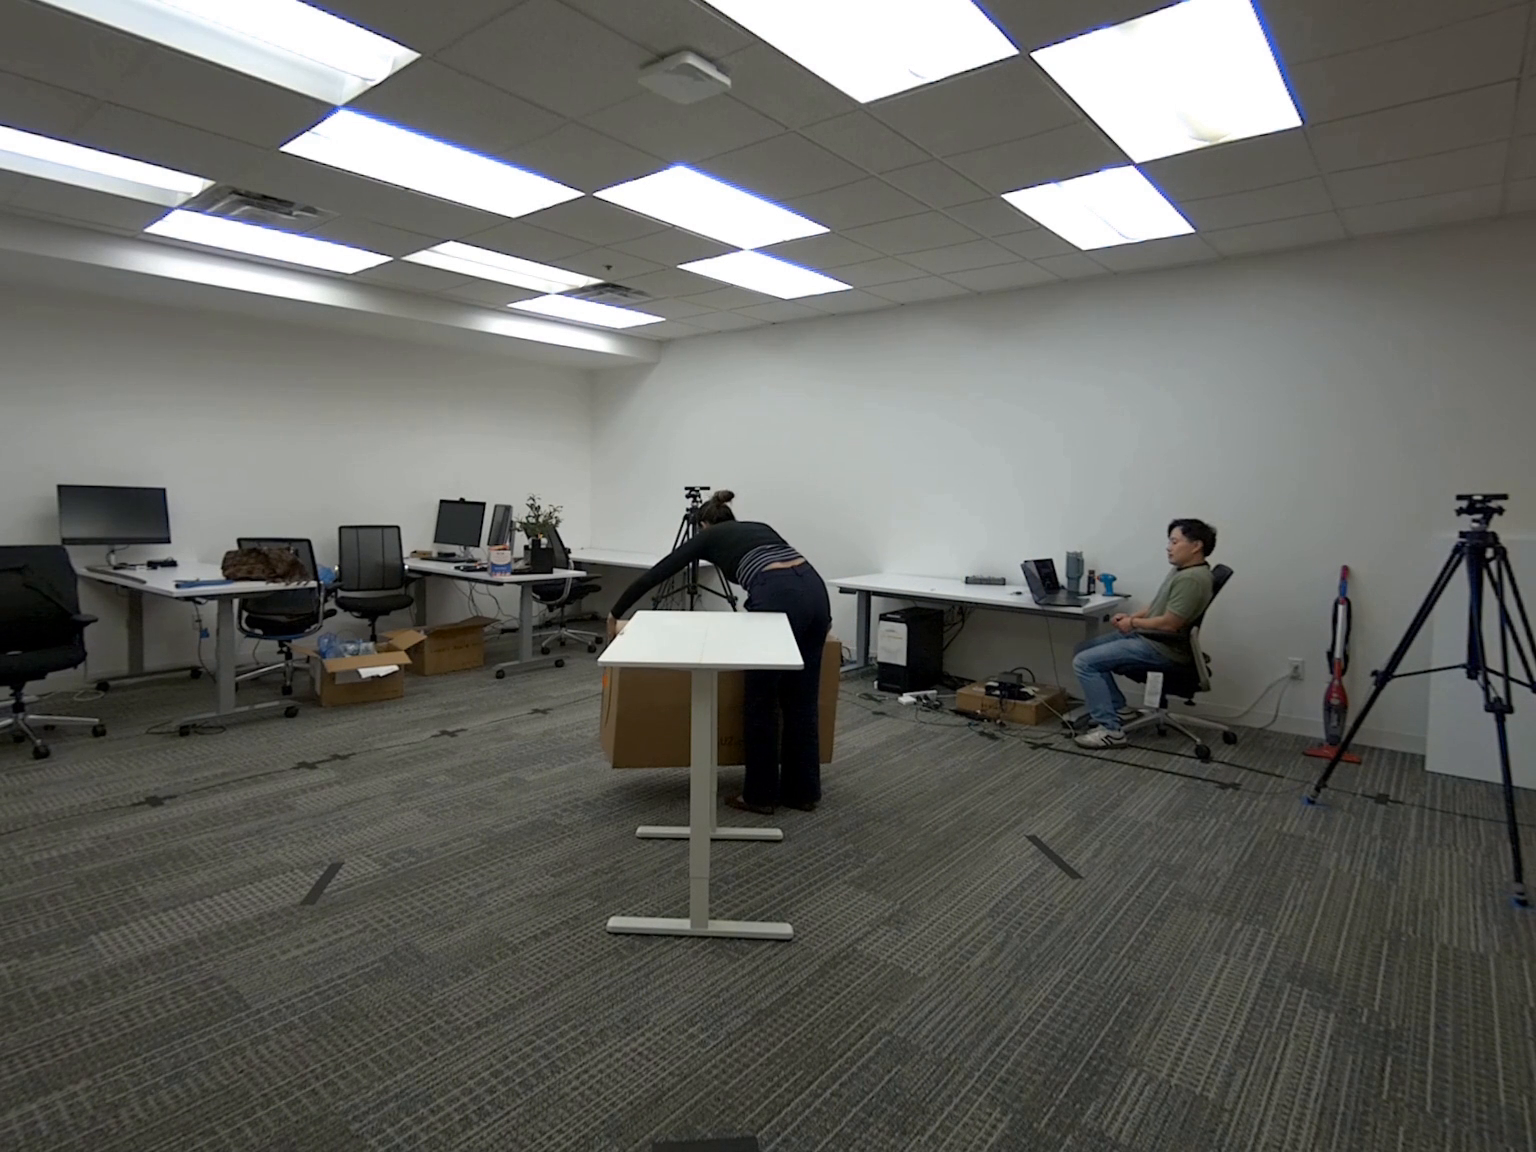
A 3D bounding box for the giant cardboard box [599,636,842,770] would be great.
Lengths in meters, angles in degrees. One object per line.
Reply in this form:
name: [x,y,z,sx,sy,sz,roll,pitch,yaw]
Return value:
giant cardboard box: [-0.246,0.532,3.971,1.008,0.575,0.435,2,5,-16]
